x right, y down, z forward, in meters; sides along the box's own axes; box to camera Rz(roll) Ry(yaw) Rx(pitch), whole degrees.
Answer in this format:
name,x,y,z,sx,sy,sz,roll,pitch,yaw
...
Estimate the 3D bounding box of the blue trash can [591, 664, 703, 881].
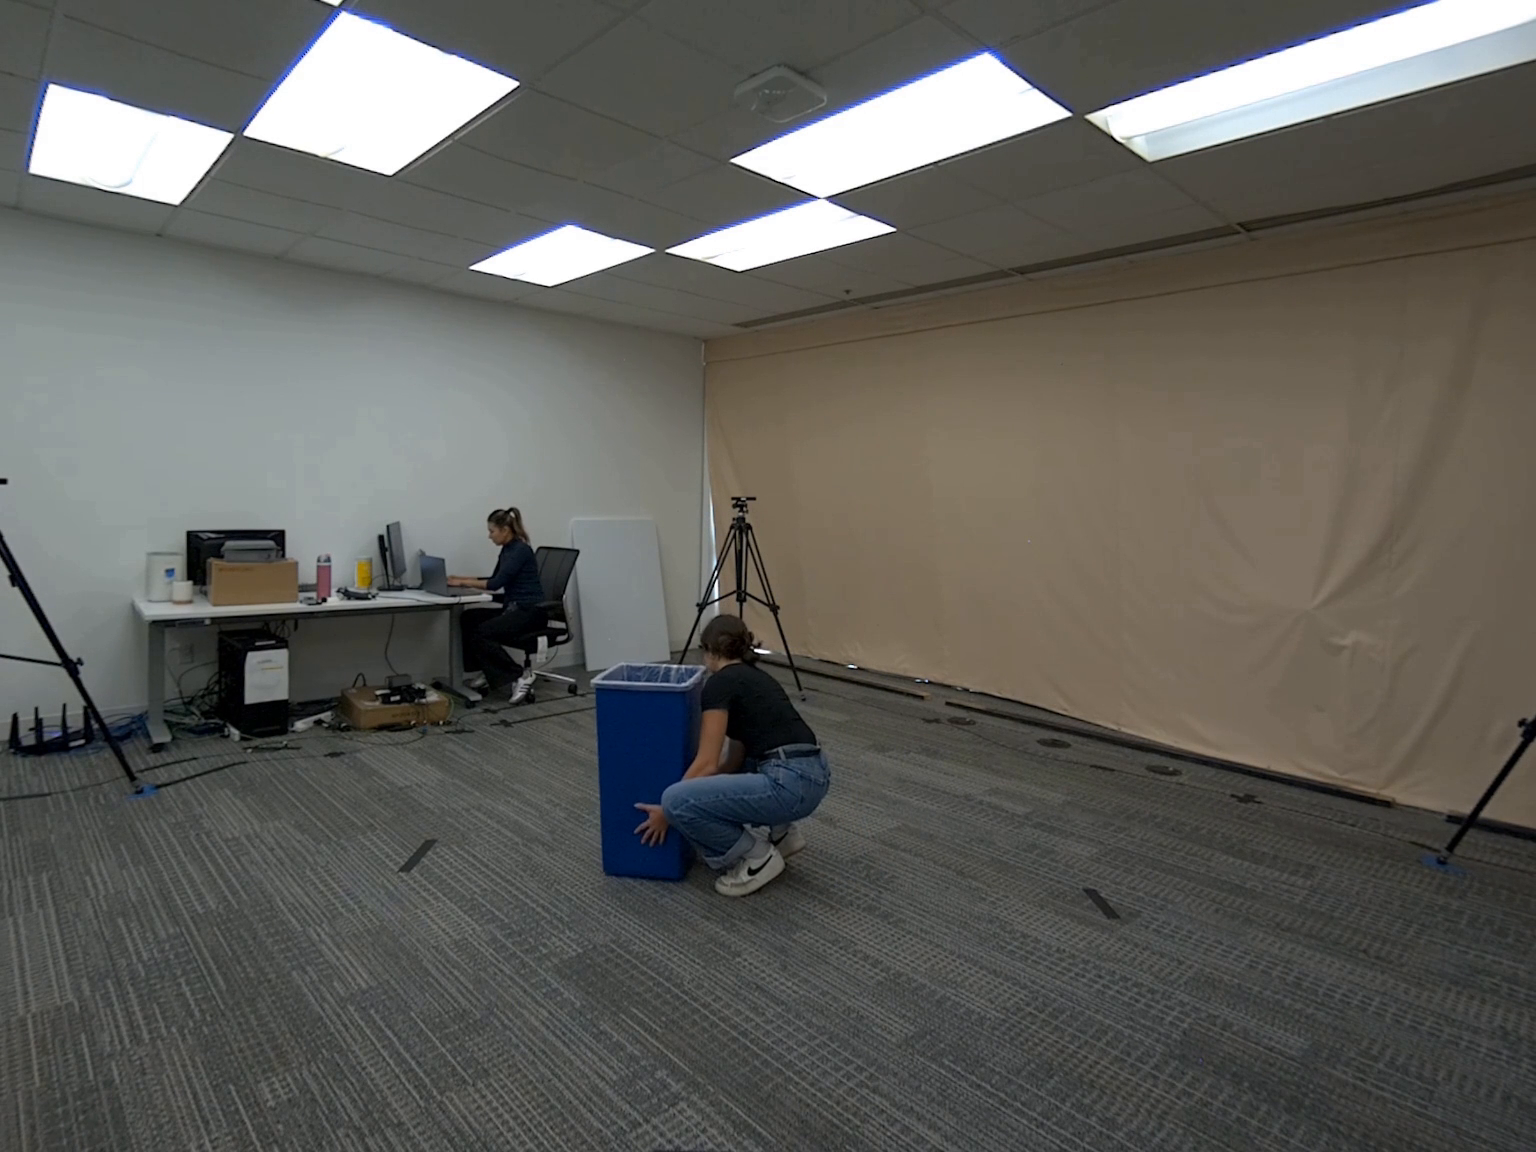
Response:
name,x,y,z,sx,sy,sz,roll,pitch,yaw
blue trash can,-0.438,0.714,3.177,0.381,0.712,0.371,0,2,9
